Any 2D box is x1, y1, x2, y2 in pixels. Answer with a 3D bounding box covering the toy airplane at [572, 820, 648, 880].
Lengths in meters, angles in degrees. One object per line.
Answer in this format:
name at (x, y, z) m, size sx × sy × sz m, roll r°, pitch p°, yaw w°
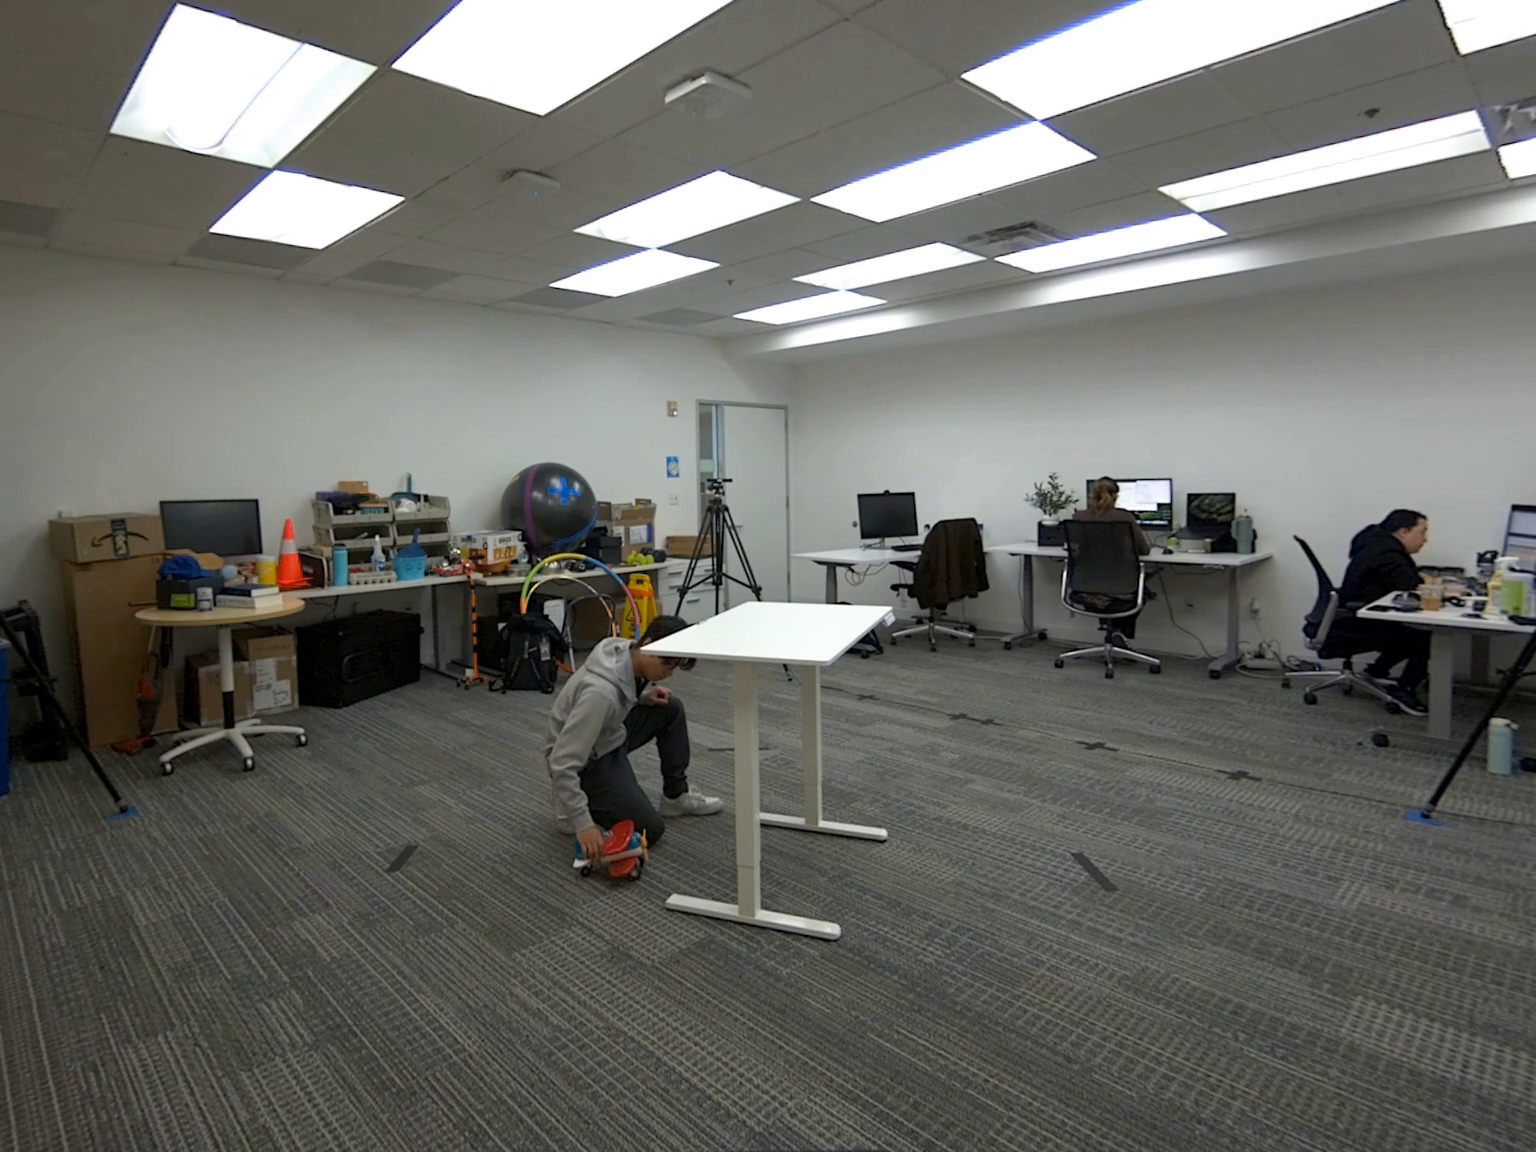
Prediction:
toy airplane at (-0.562, 0.997, 3.020) m, size 0.254 × 0.156 × 0.258 m, roll -4°, pitch 7°, yaw -27°
